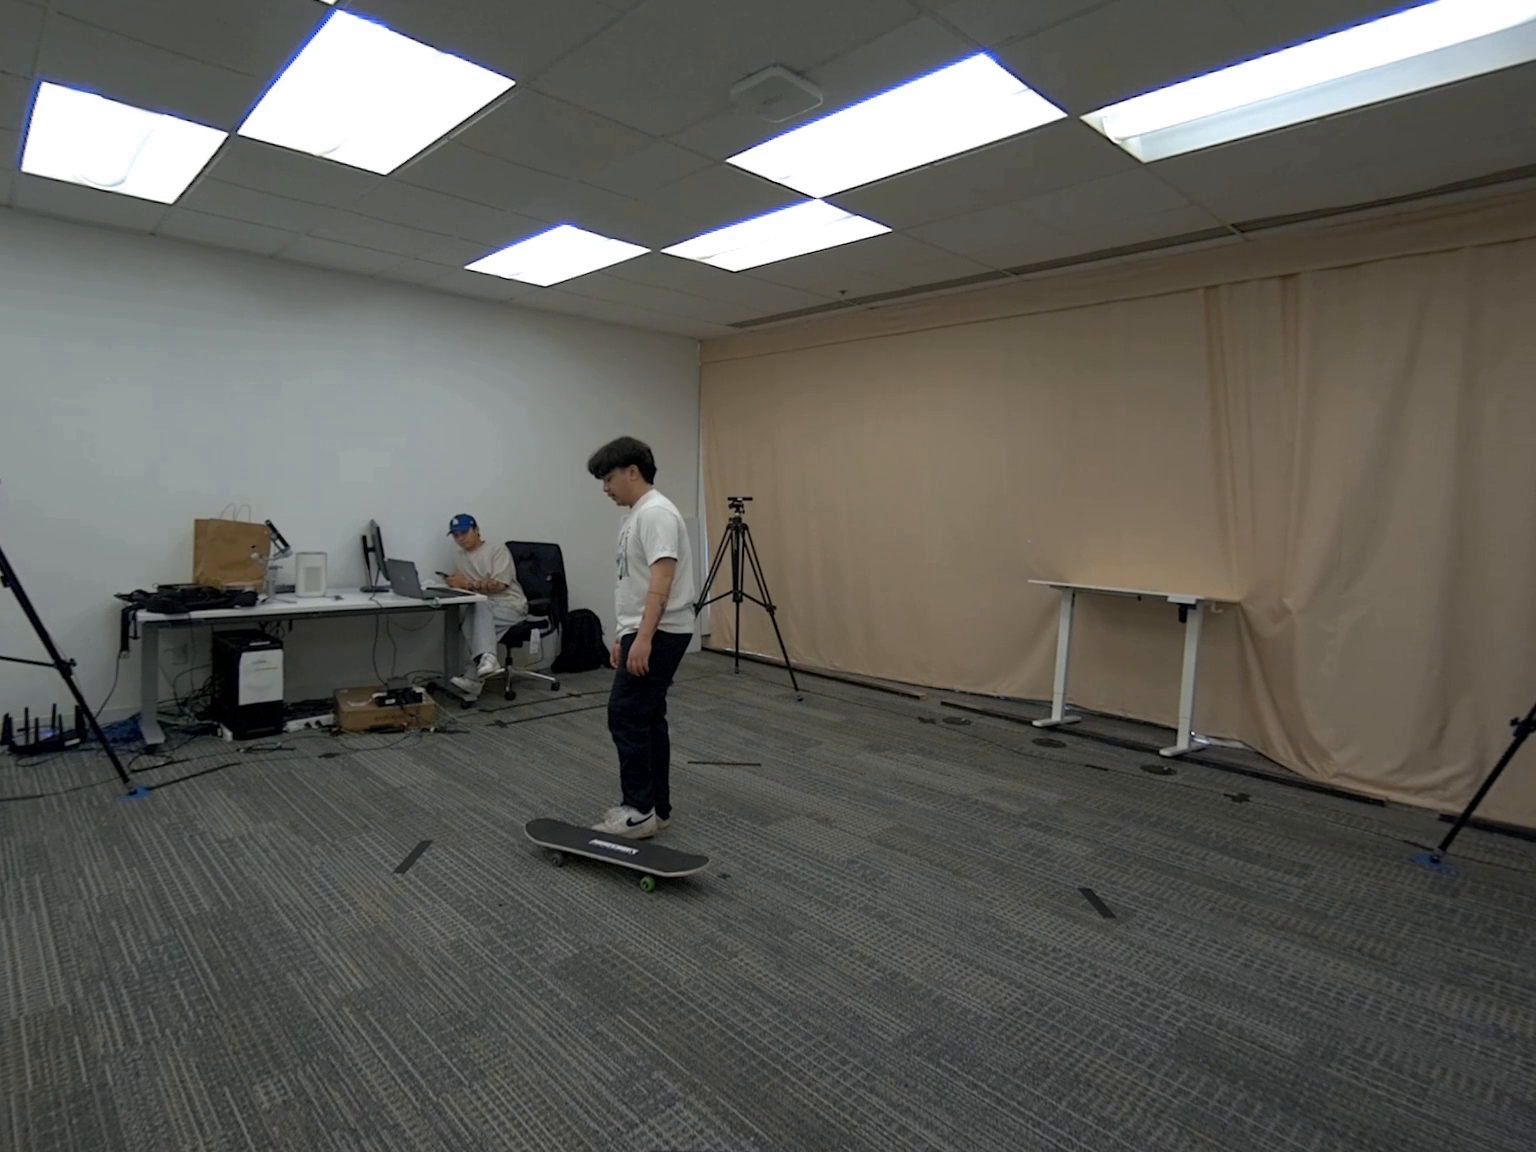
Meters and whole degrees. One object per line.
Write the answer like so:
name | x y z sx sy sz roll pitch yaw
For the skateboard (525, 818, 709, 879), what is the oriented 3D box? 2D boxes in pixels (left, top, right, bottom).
skateboard | -0.577 1.036 3.131 0.801 0.110 0.190 4 6 27
